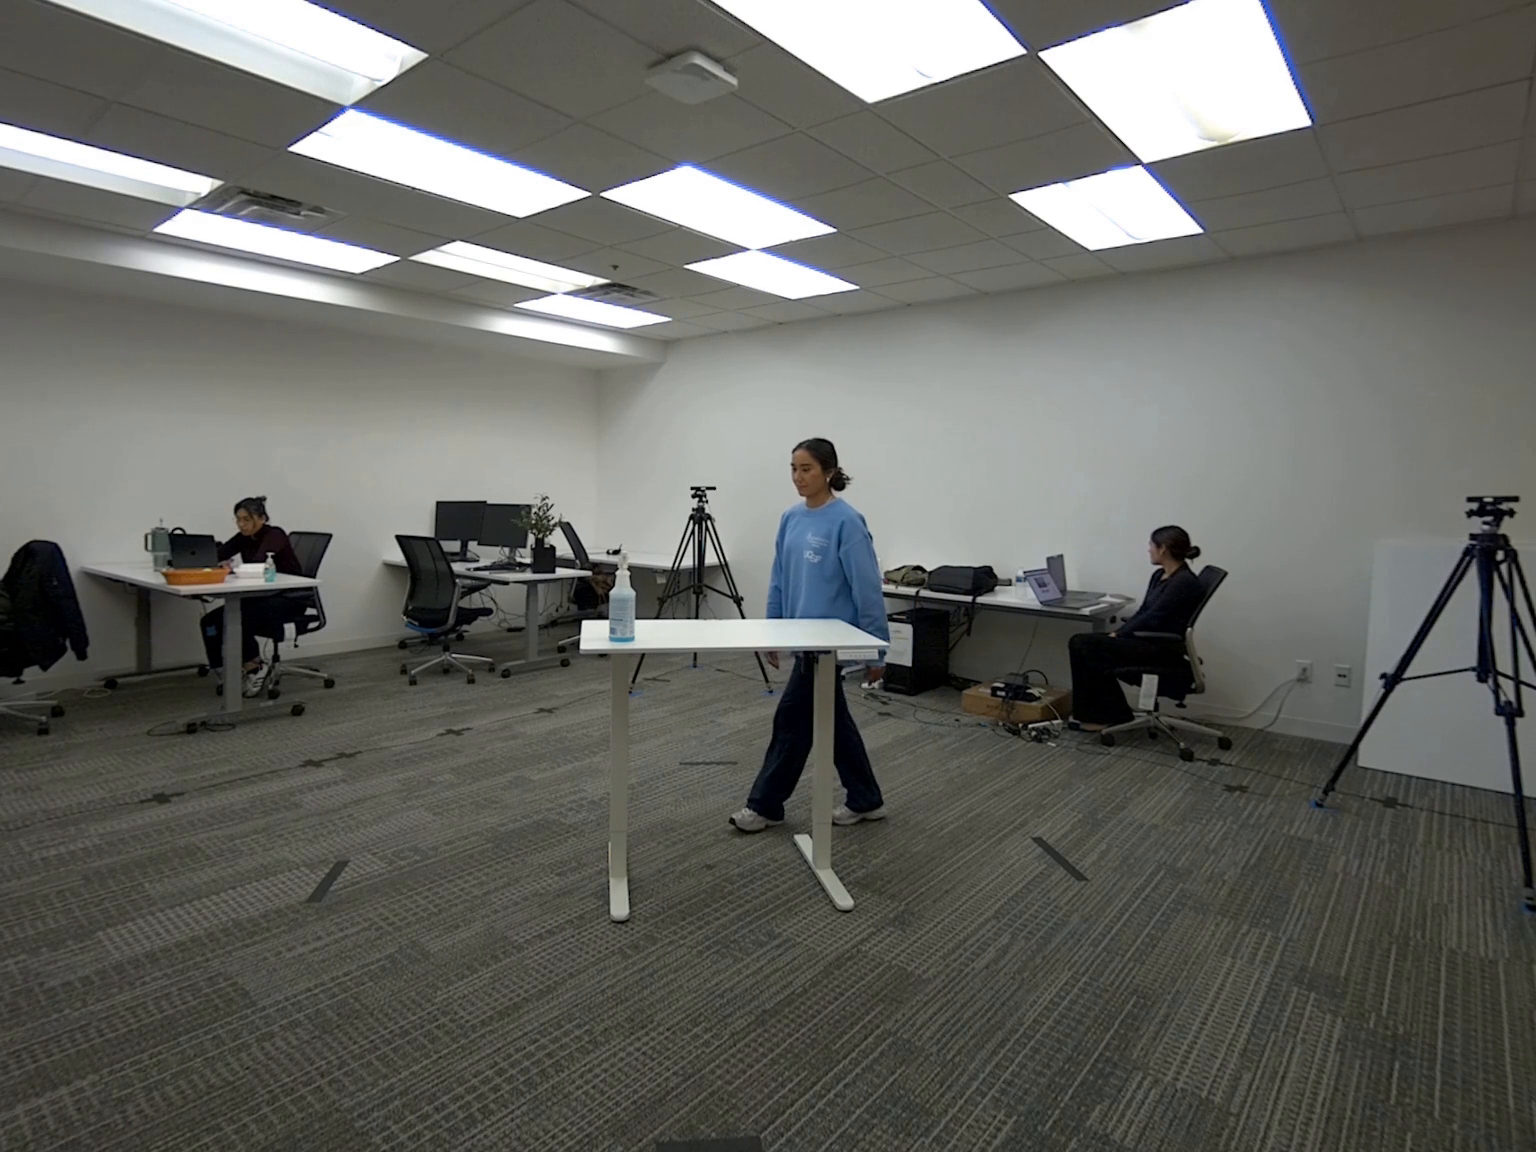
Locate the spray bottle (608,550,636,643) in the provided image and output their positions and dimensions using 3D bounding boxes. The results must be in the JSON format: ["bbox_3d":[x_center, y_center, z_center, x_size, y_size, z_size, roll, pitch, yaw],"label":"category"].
[{"bbox_3d":[-0.494,0.065,2.796,0.088,0.296,0.089,3,3,9],"label":"spray bottle"}]
